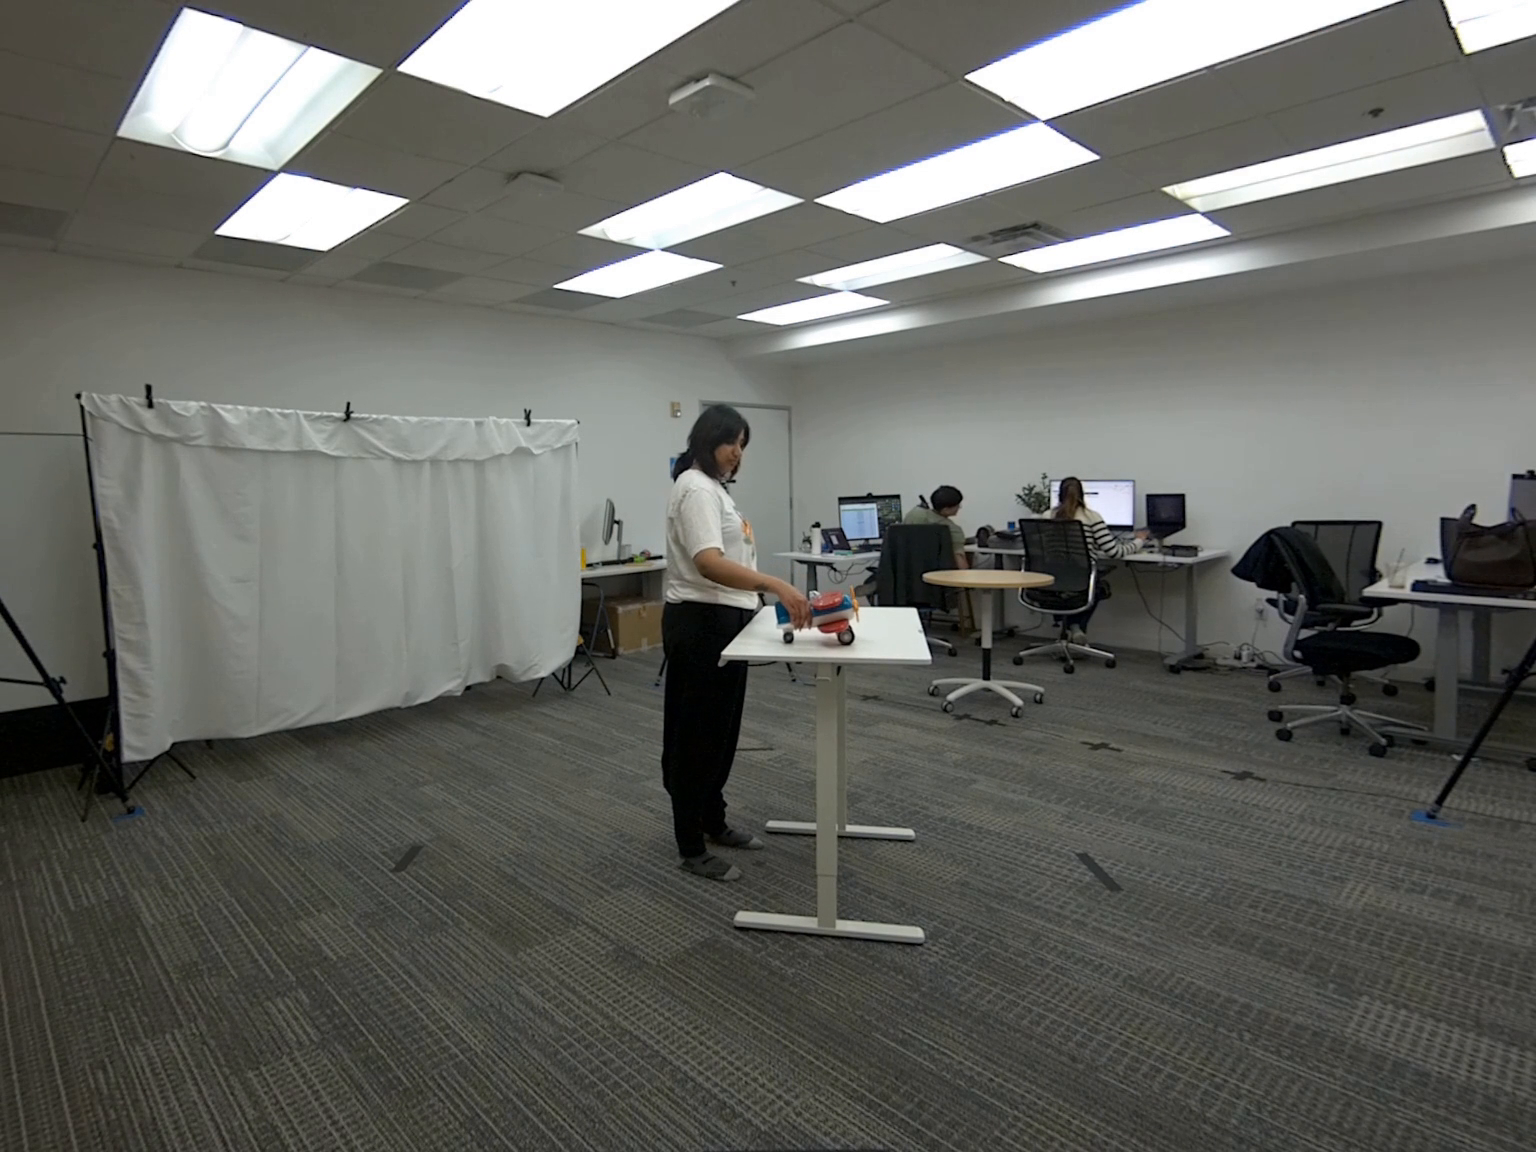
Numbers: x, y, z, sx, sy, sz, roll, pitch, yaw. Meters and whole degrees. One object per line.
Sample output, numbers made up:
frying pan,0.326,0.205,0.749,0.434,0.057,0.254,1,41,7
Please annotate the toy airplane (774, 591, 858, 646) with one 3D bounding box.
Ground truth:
toy airplane,0.162,0.132,2.648,0.254,0.156,0.257,0,5,-24
